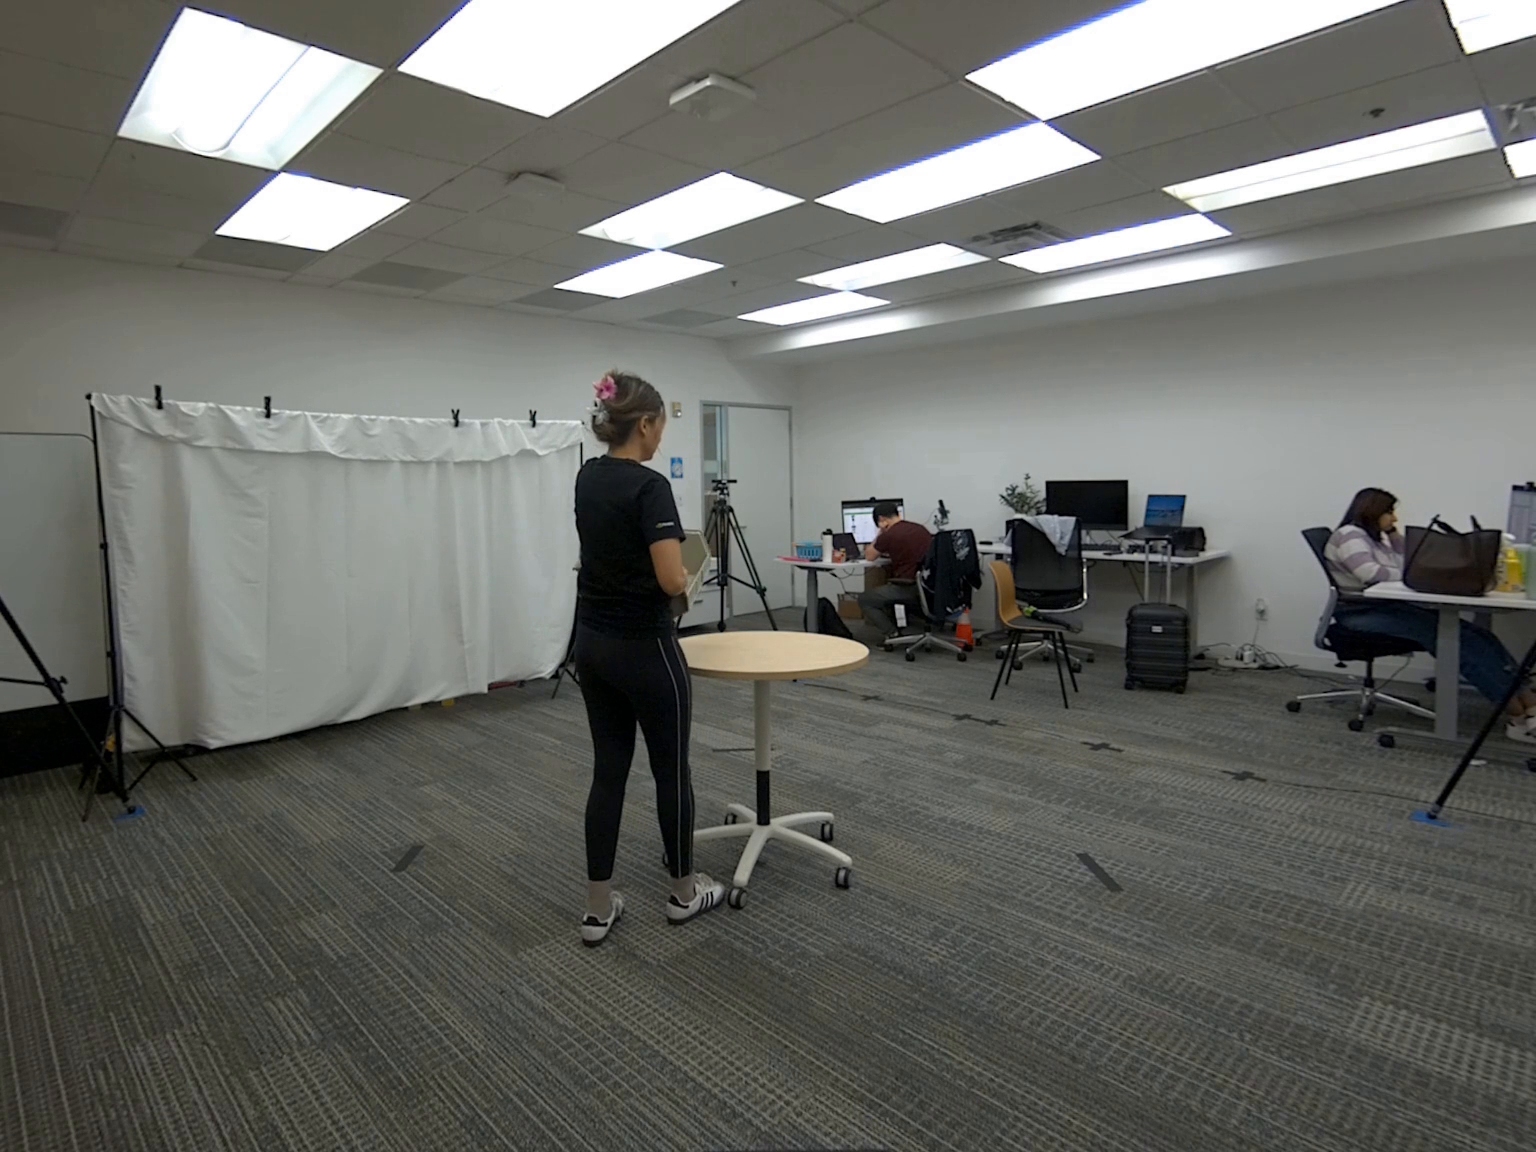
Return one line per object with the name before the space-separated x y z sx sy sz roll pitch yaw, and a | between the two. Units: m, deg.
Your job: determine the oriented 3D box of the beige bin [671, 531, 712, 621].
beige bin | -0.411 -0.017 2.939 0.381 0.185 0.426 -2 21 11
